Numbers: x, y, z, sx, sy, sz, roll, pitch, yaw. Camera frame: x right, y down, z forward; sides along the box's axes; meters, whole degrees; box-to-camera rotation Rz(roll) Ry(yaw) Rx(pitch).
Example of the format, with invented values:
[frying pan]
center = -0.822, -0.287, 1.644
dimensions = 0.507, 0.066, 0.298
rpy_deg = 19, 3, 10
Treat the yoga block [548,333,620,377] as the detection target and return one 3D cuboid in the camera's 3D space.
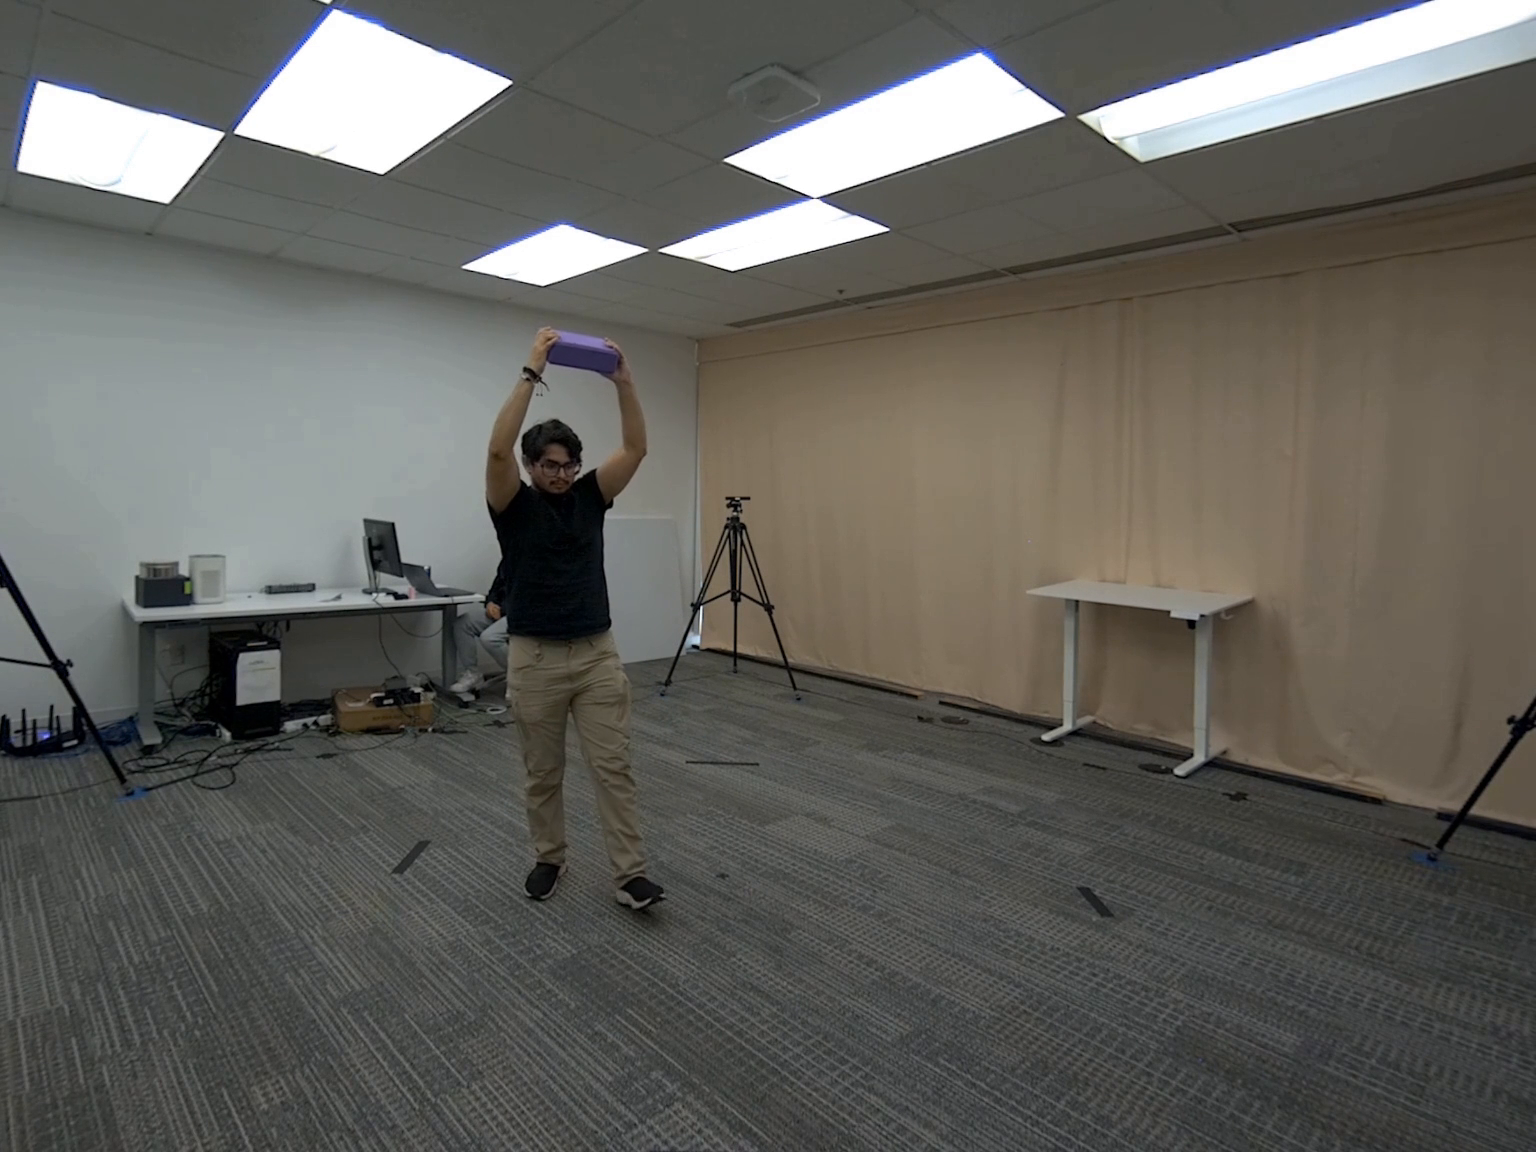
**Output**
[yoga block]
center = -0.614, -0.714, 2.675
dimensions = 0.224, 0.076, 0.154
rpy_deg = 1, 29, -37
